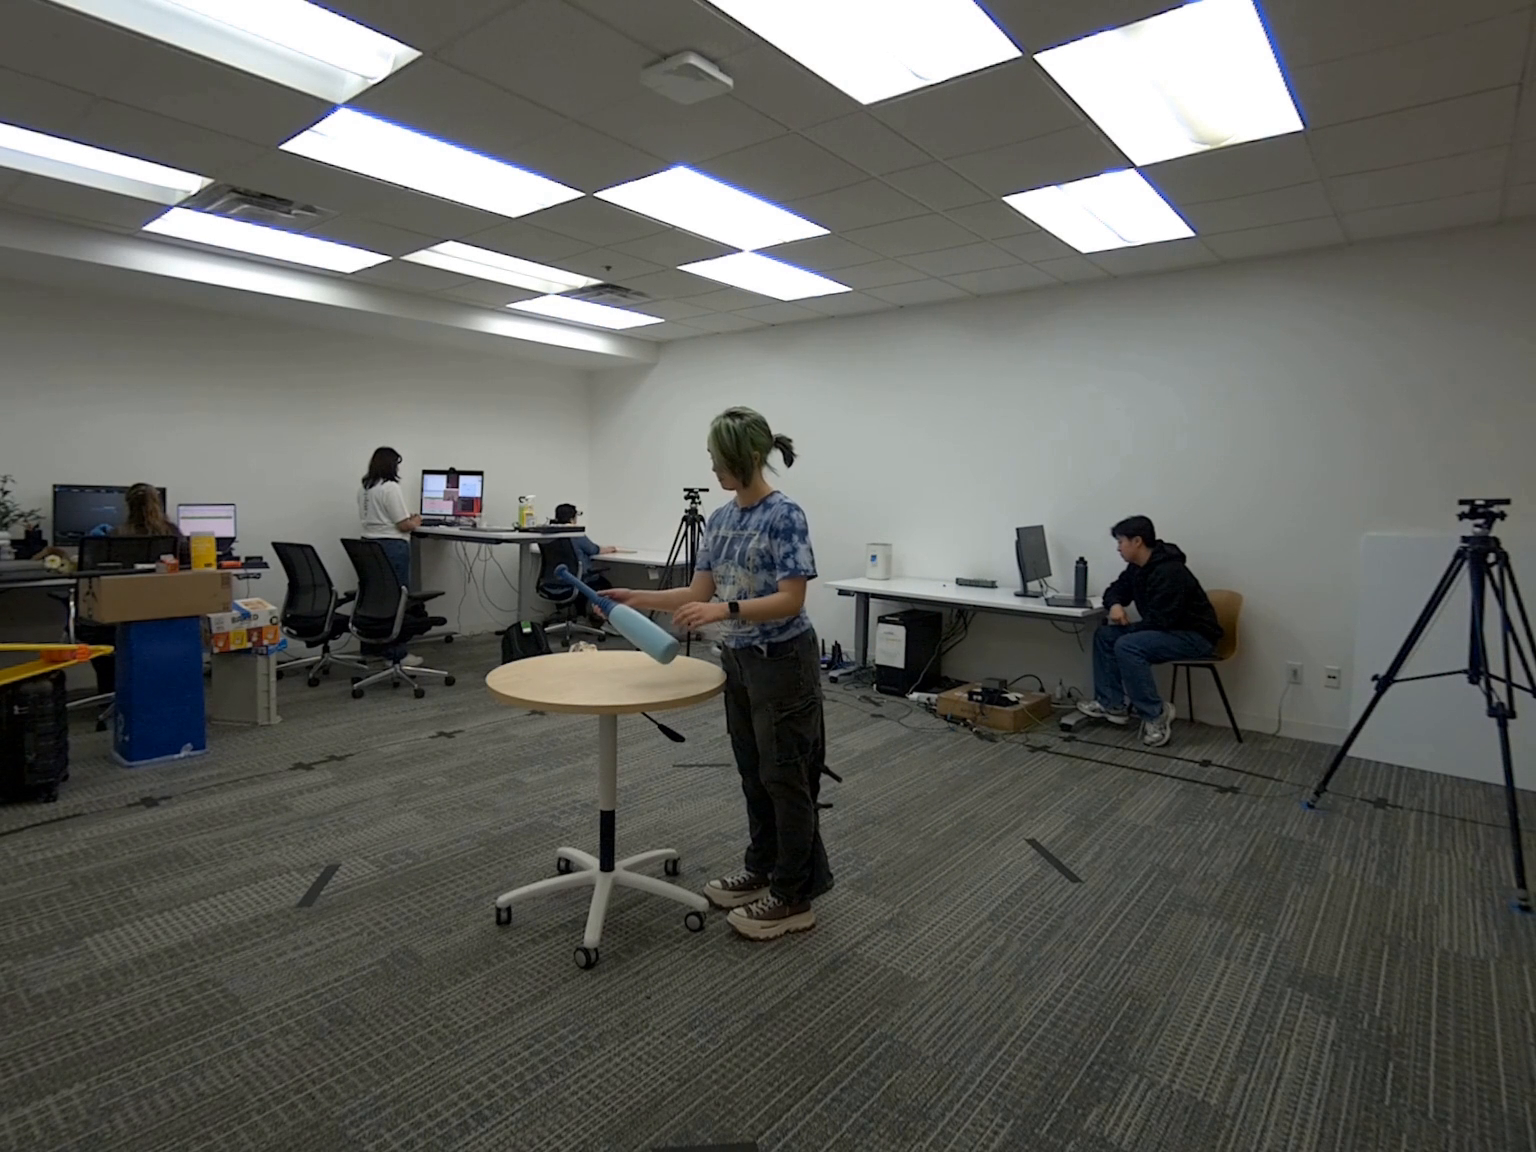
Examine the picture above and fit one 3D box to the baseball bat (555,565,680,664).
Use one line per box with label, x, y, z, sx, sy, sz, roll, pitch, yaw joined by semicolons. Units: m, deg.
baseball bat;-0.503;0.109;2.676;0.564;0.088;0.086;32;20;31
